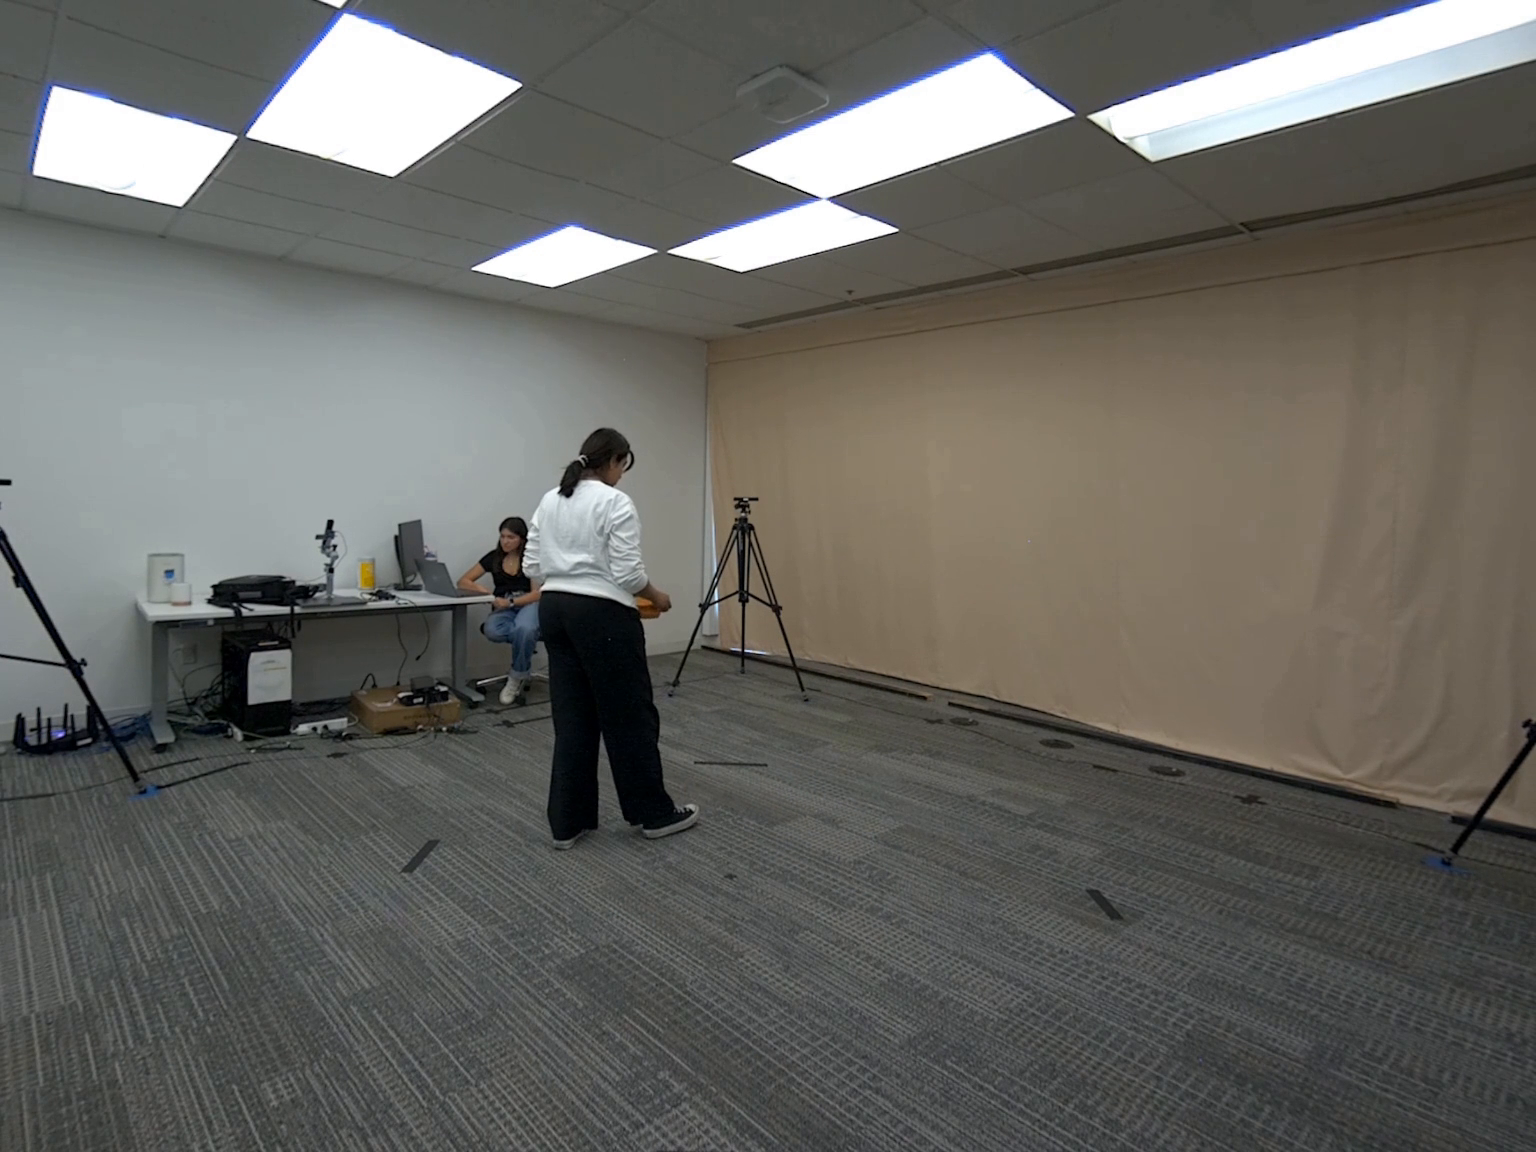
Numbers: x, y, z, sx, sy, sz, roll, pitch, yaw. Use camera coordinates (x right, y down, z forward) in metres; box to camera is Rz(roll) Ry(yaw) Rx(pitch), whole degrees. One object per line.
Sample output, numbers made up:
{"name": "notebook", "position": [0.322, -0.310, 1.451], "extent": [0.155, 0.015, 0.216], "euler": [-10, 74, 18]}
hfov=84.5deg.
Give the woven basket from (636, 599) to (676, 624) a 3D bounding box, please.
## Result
{"name": "woven basket", "position": [-0.614, 0.139, 3.669], "extent": [0.360, 0.073, 0.246], "euler": [9, 7, 43]}
